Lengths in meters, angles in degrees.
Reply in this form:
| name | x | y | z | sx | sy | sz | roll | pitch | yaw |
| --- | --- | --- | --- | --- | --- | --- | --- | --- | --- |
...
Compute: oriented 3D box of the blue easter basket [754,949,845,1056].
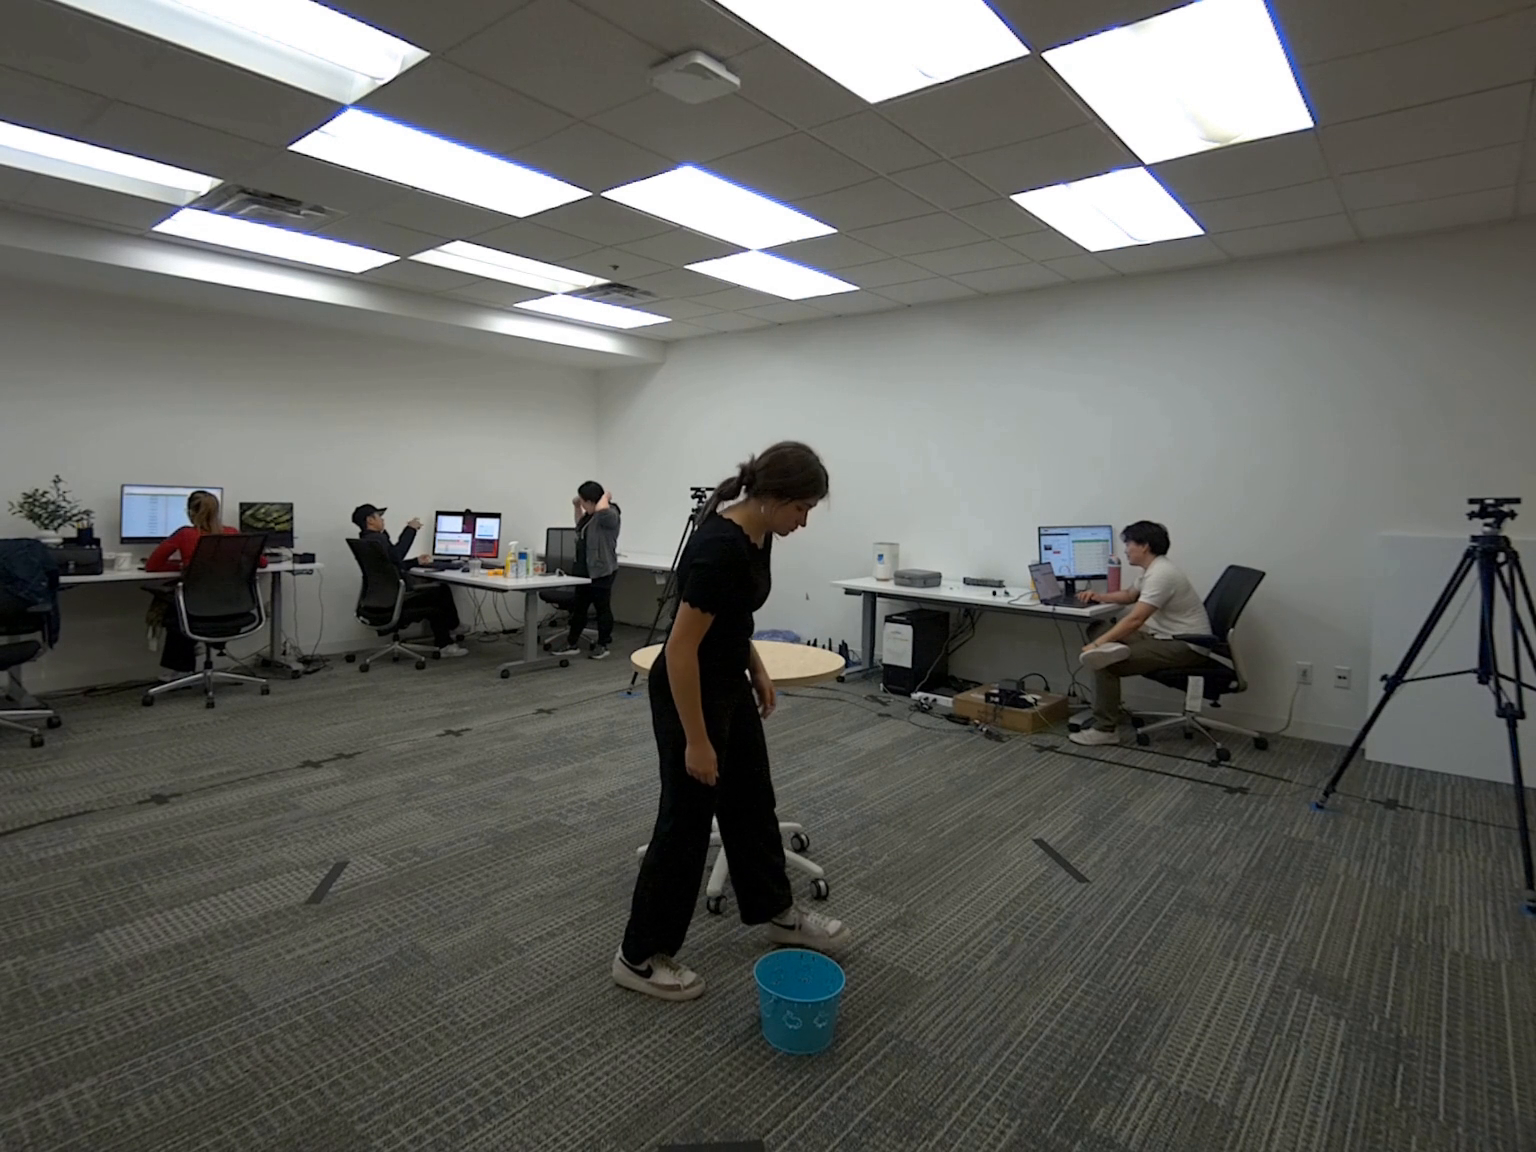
| name | x | y | z | sx | sy | sz | roll | pitch | yaw |
| --- | --- | --- | --- | --- | --- | --- | --- | --- | --- |
| blue easter basket | 0.079 | 1.088 | 2.186 | 0.243 | 0.155 | 0.245 | 2 | 5 | -2 |
